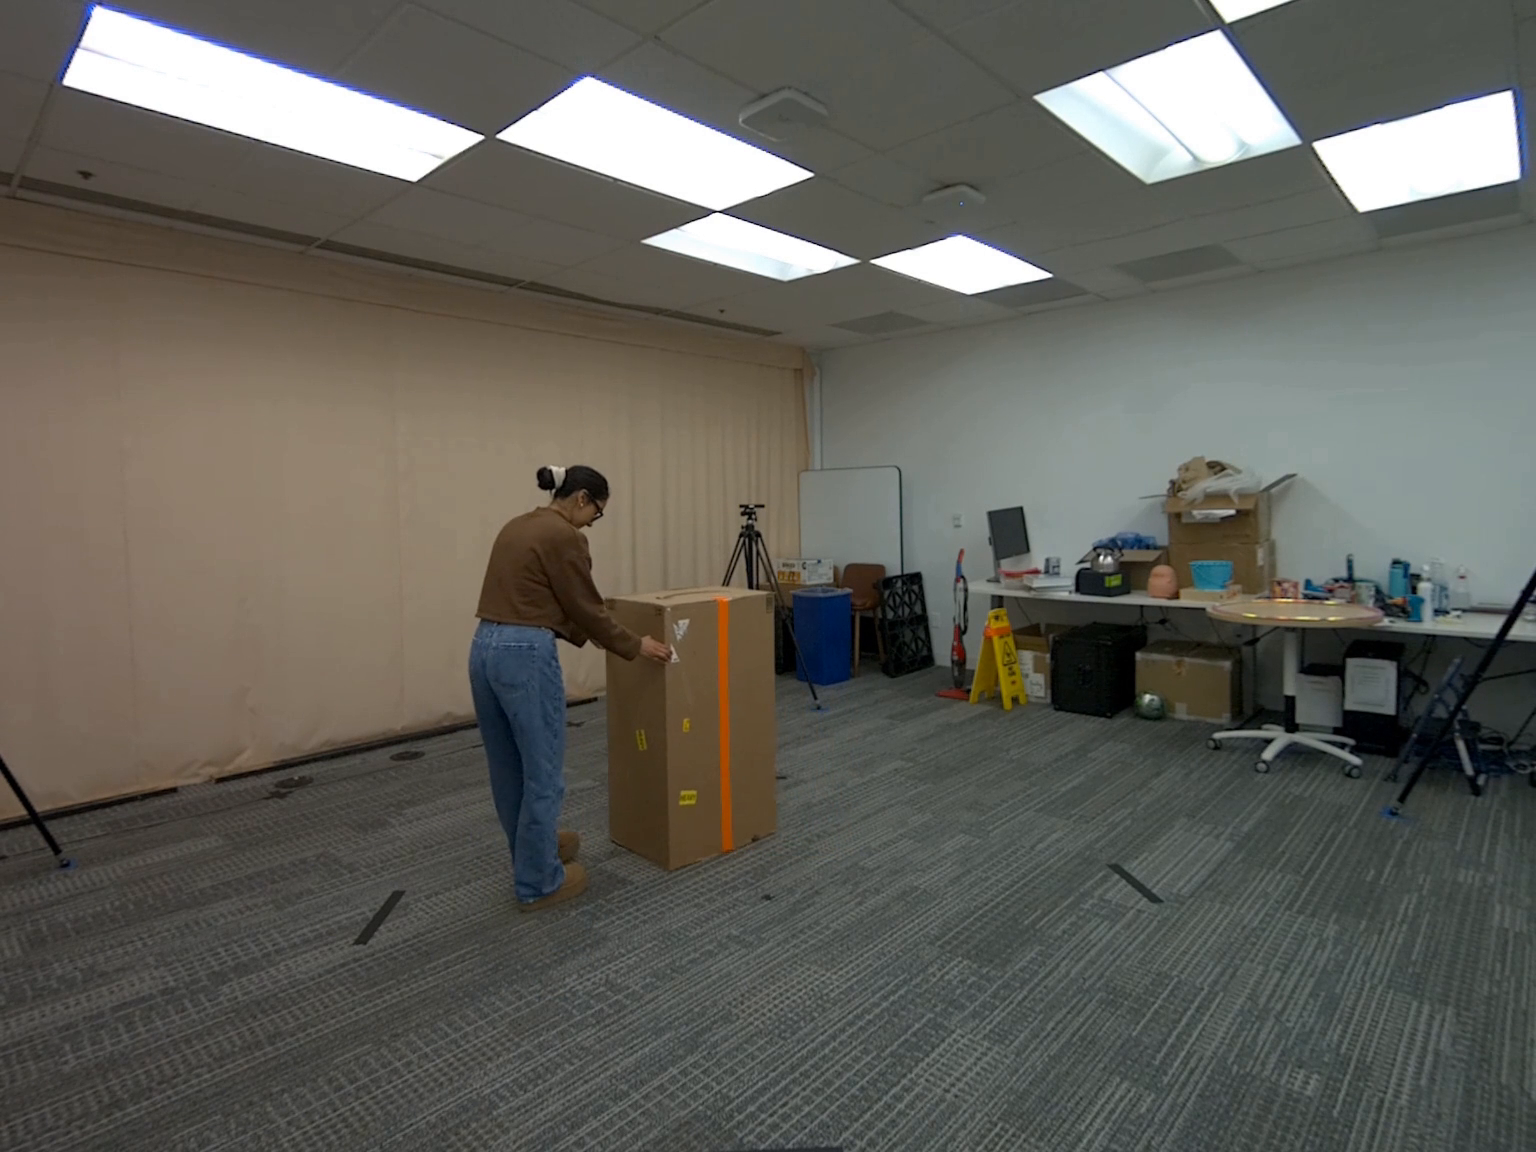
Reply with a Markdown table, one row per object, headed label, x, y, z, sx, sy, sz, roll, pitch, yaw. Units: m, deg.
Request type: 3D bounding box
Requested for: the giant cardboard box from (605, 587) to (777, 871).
| label | x | y | z | sx | sy | sz | roll | pitch | yaw |
| --- | --- | --- | --- | --- | --- | --- | --- | --- | --- |
| giant cardboard box | -0.317 | 0.589 | 3.524 | 0.560 | 1.023 | 0.440 | -4 | 5 | -41 |
